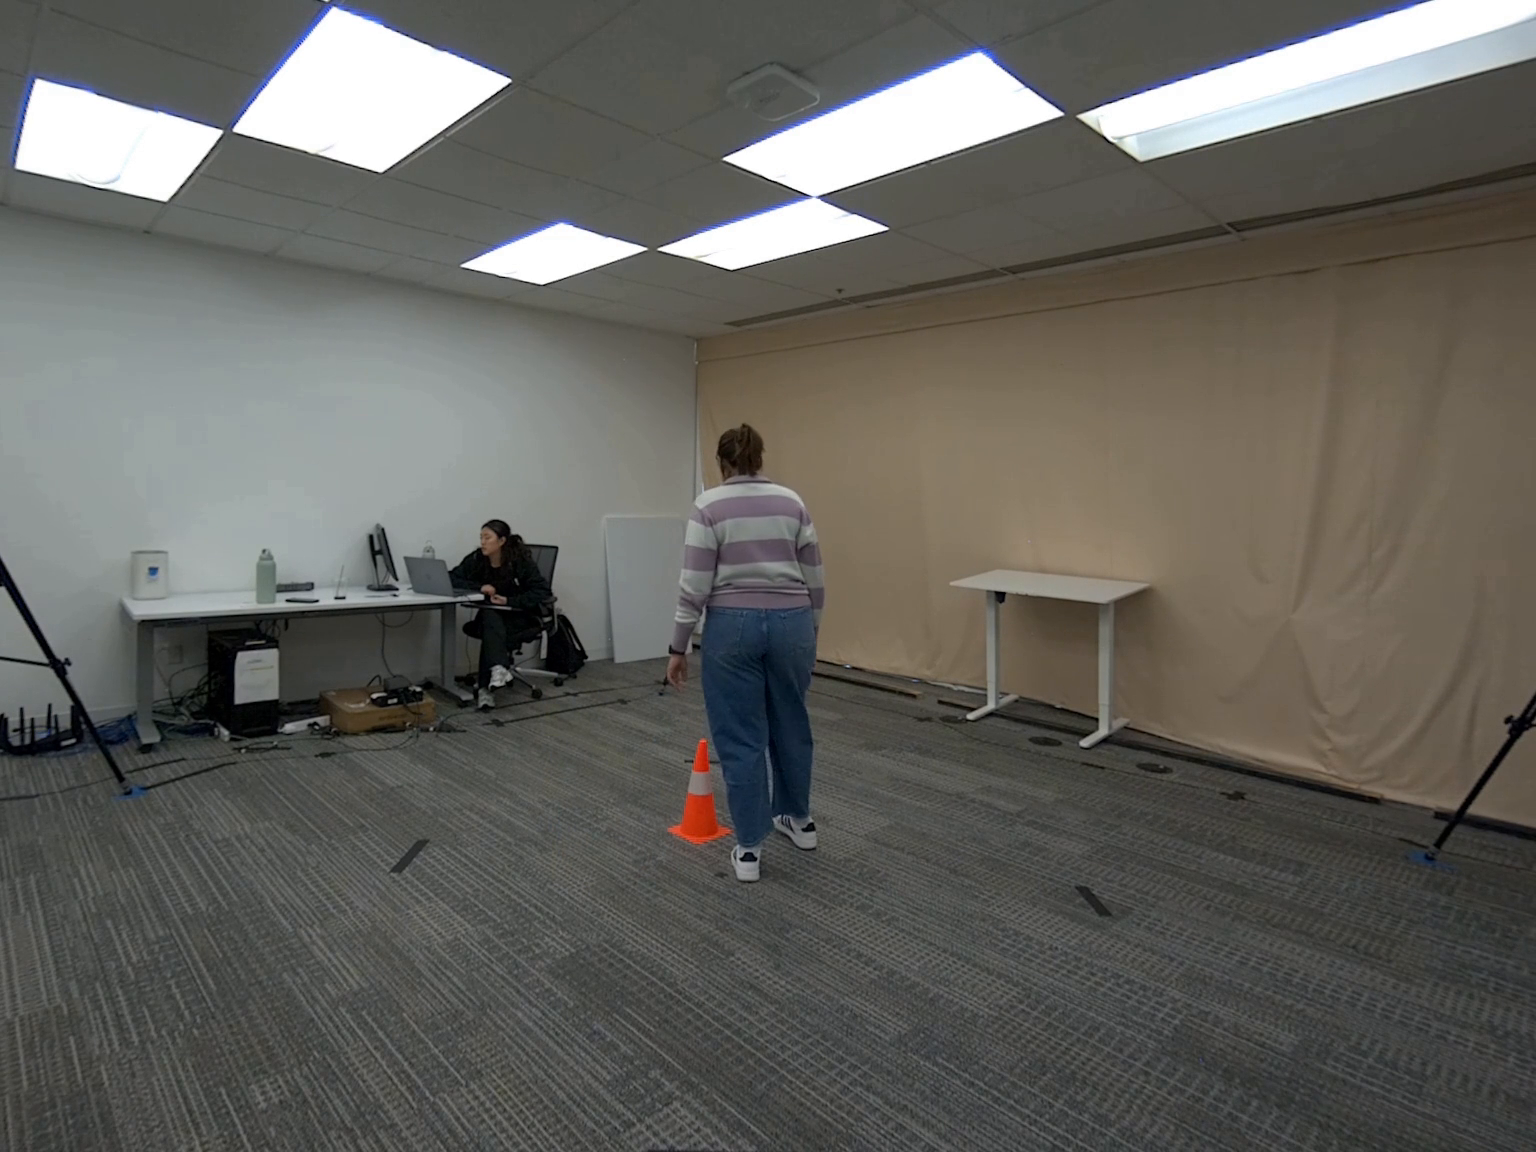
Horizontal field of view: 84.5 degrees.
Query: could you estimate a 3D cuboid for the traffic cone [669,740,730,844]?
[{"bbox_3d":[-0.286,0.877,3.503,0.199,0.383,0.210,-2,4,-45],"label":"traffic cone"}]
